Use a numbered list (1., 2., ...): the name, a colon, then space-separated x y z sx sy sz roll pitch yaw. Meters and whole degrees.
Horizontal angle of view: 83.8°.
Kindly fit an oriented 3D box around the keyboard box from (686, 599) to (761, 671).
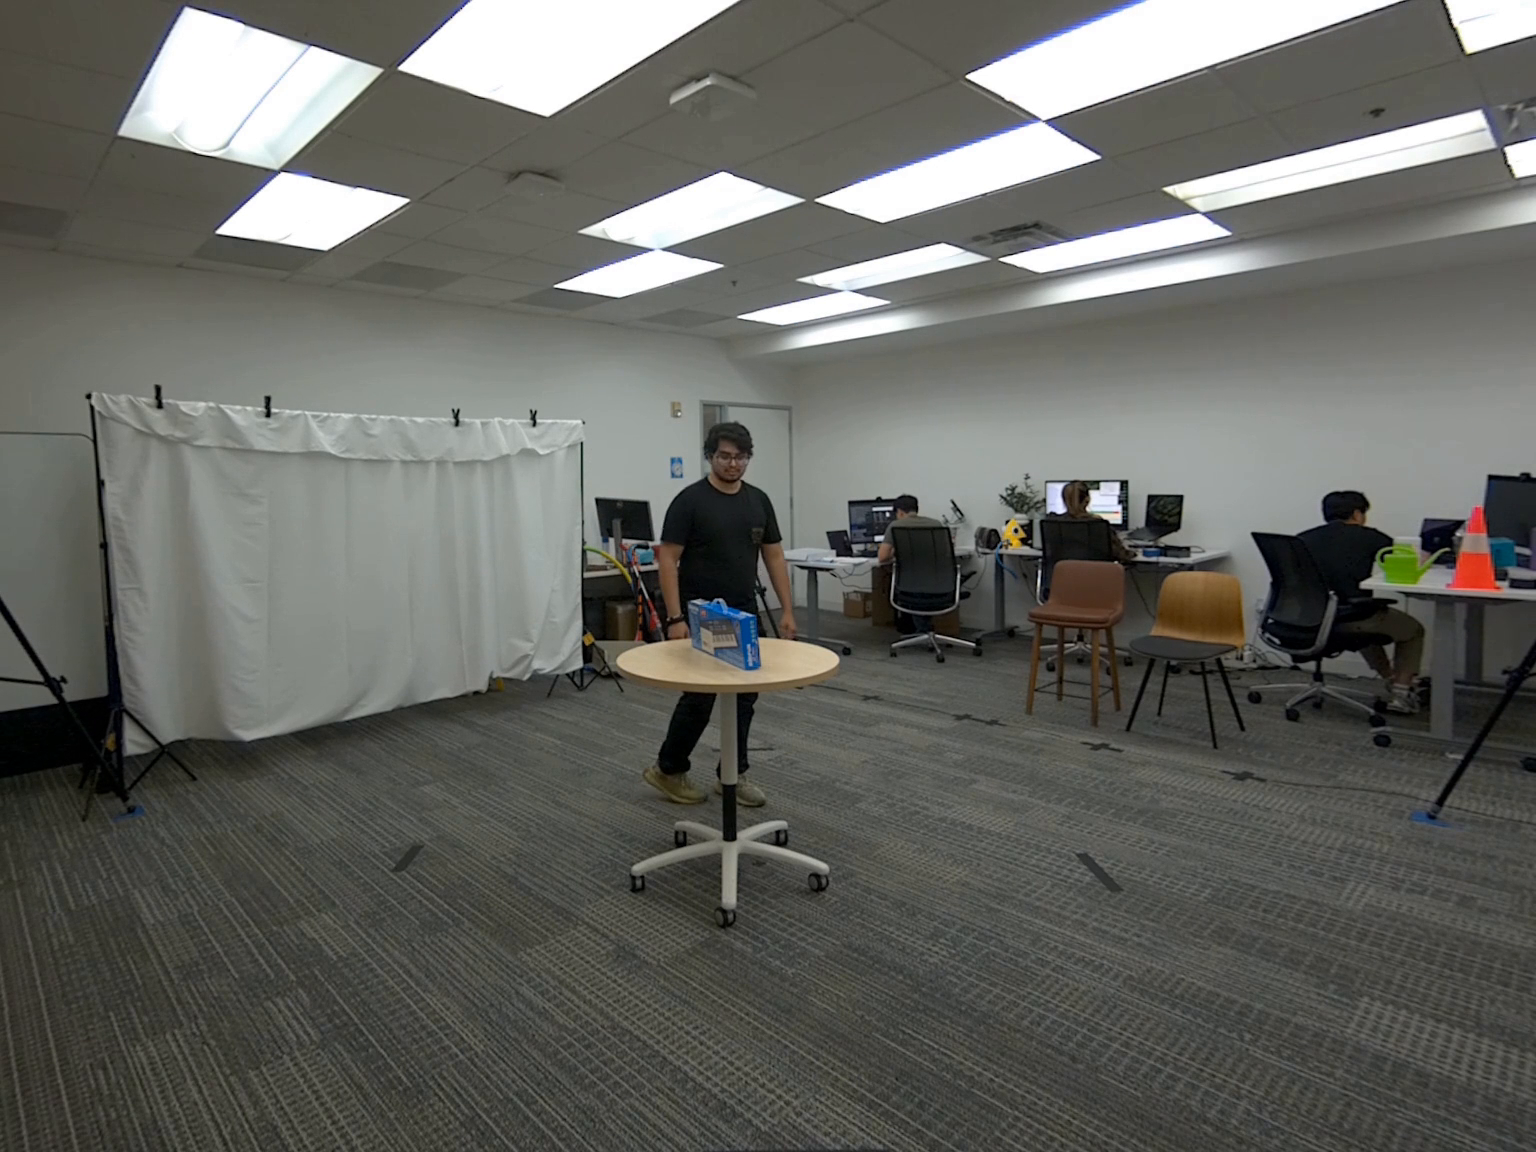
1. keyboard box: -0.162 0.200 2.948 0.058 0.175 0.448 -8 9 -26
